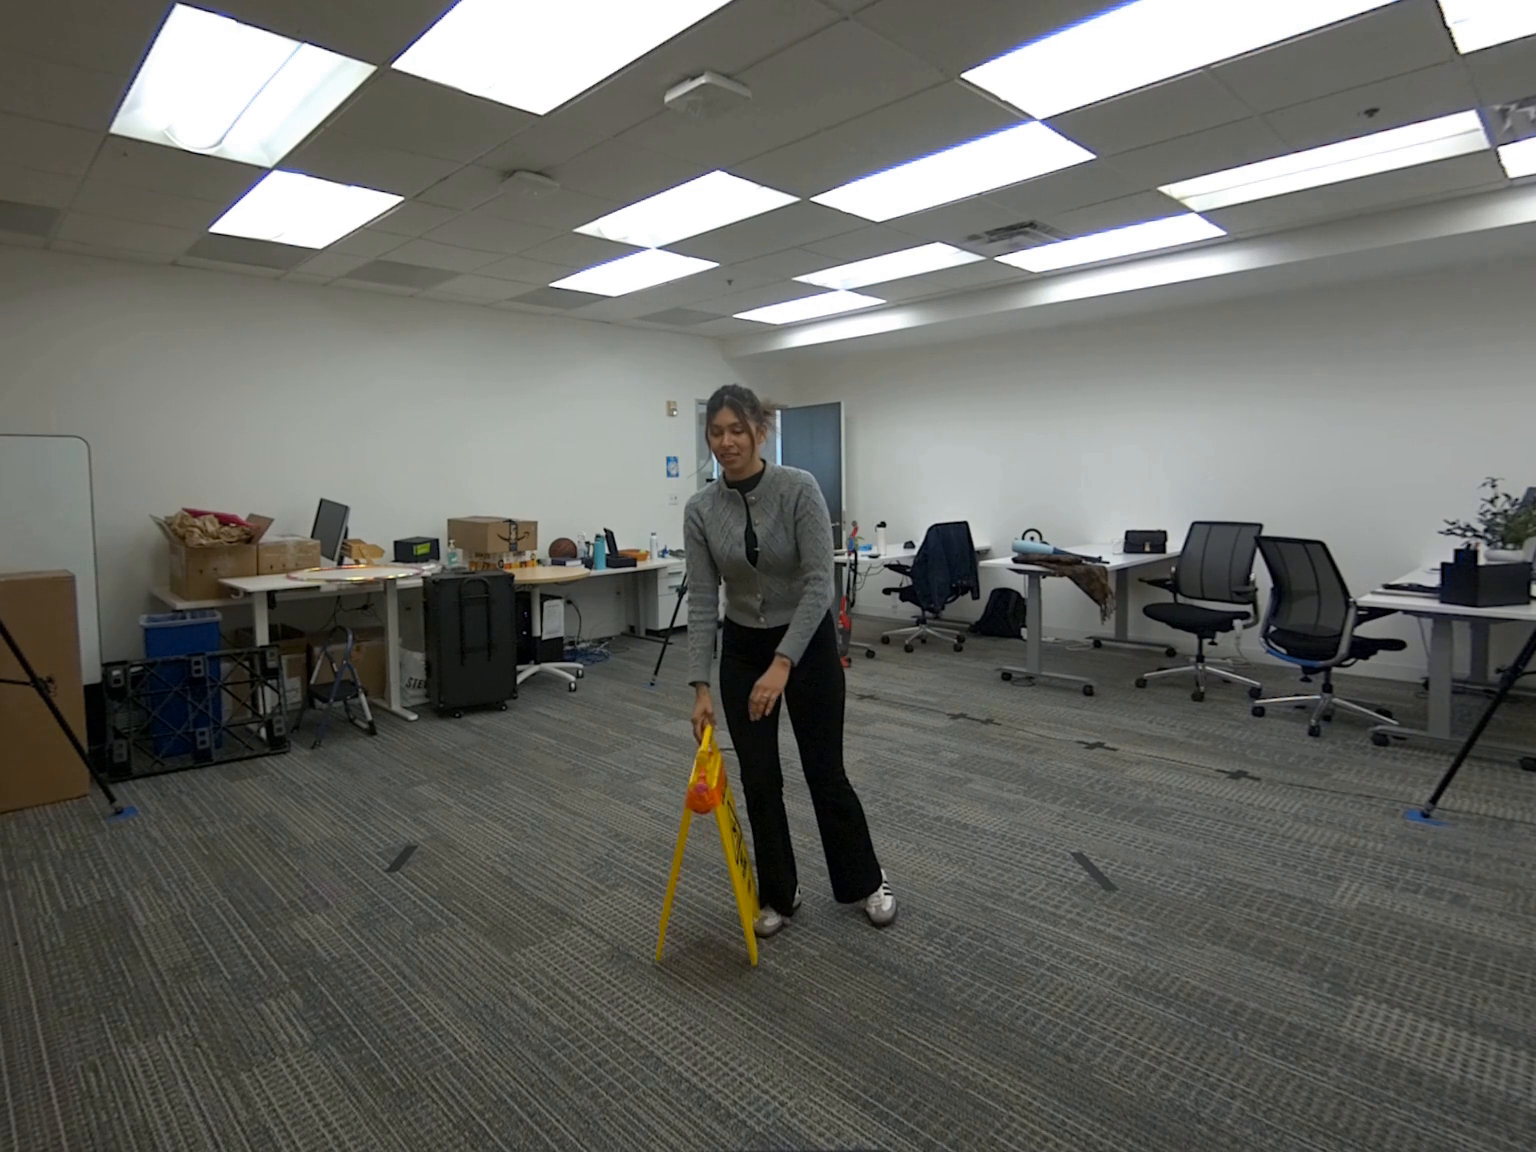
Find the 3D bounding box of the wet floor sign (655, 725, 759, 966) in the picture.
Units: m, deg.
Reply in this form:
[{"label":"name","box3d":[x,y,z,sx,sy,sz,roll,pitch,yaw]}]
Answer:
[{"label":"wet floor sign","box3d":[-0.174,0.759,2.489,0.291,0.639,0.284,-1,11,4]}]
